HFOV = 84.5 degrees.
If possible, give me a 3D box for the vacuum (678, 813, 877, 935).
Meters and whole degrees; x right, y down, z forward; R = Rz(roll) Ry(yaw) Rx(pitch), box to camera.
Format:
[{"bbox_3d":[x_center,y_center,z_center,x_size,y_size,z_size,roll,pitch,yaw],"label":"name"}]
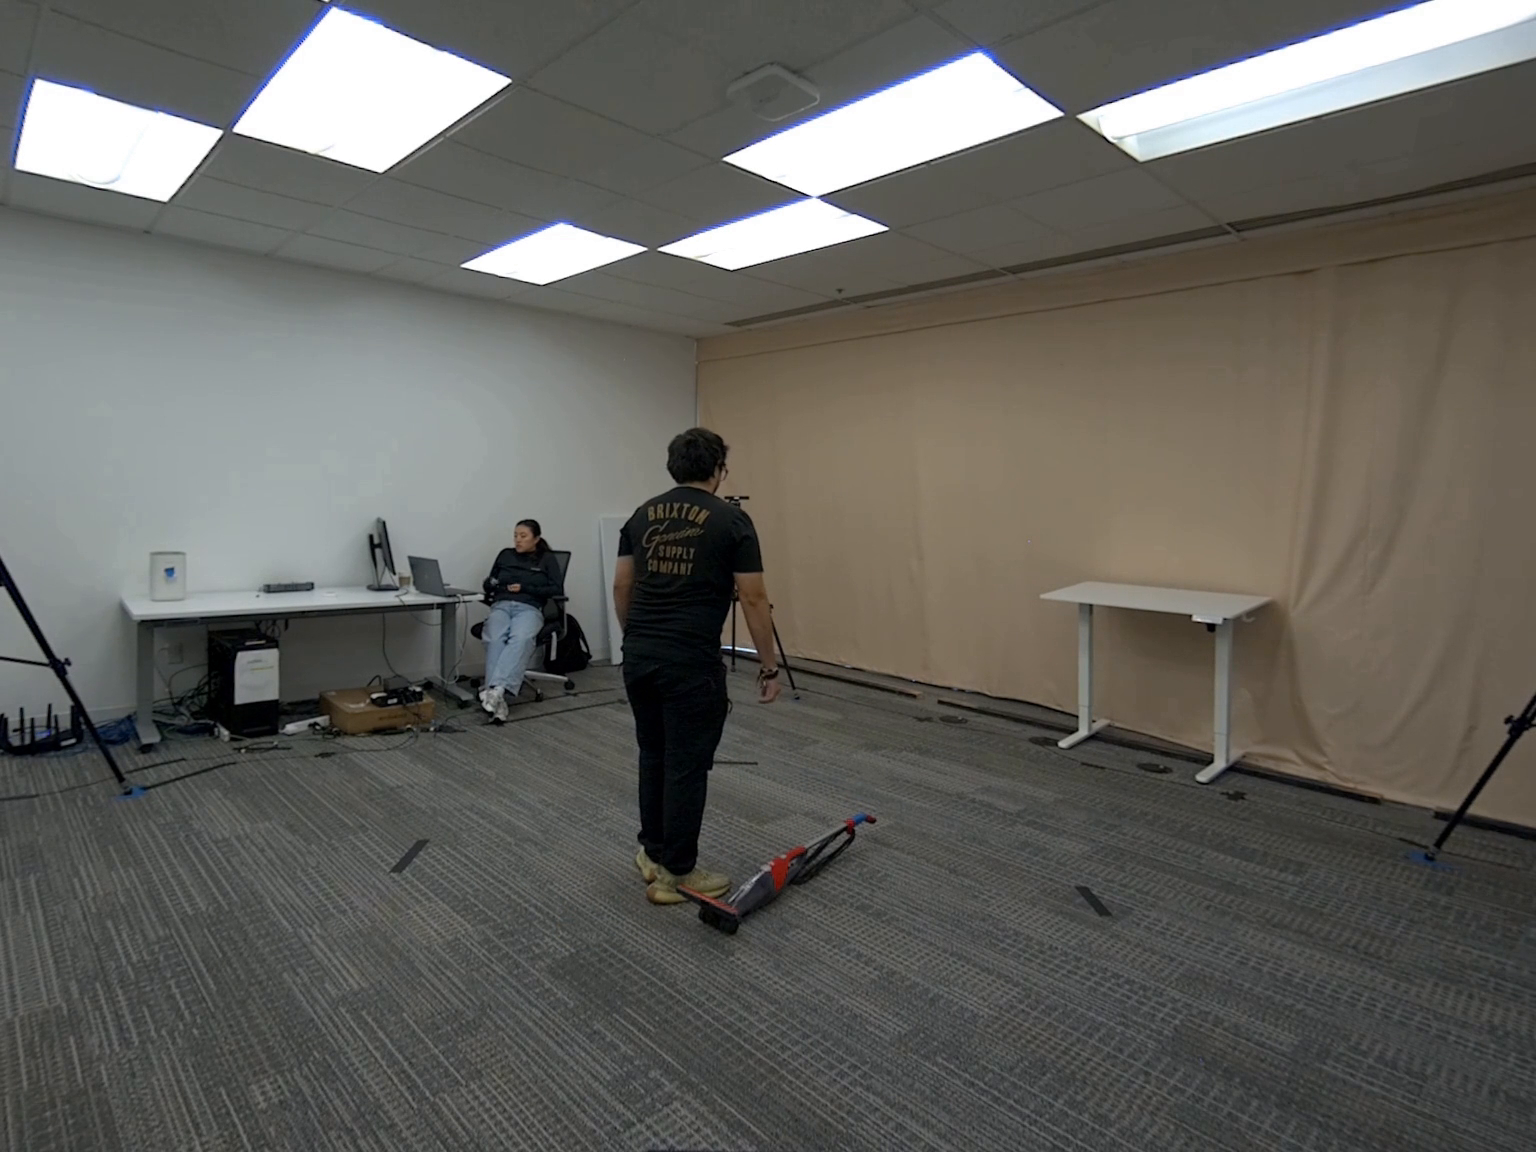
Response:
[{"bbox_3d":[0.122,1.050,3.094,0.259,0.143,1.026,6,6,37],"label":"vacuum"}]
